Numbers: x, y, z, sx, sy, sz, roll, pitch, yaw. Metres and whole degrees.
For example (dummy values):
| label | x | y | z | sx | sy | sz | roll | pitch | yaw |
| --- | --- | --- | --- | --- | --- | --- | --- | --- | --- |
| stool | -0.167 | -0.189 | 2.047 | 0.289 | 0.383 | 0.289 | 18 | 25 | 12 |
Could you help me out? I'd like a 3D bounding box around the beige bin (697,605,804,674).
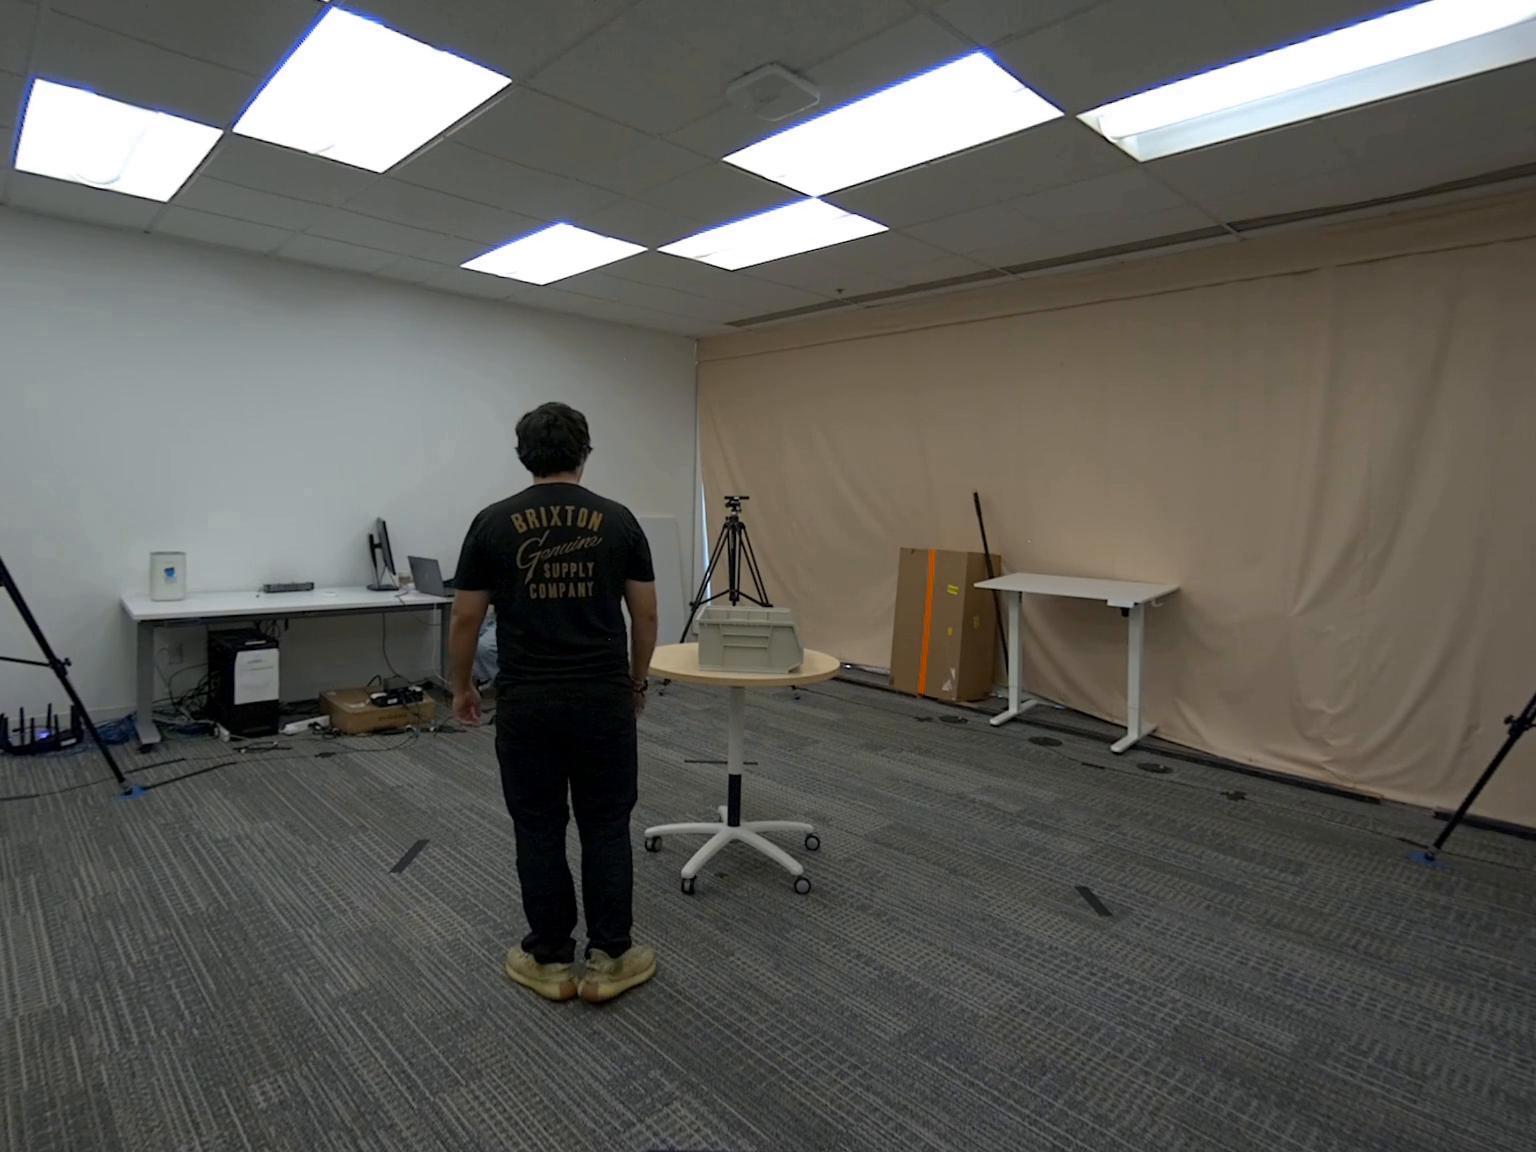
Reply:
| label | x | y | z | sx | sy | sz | roll | pitch | yaw |
| --- | --- | --- | --- | --- | --- | --- | --- | --- | --- |
| beige bin | -0.062 | 0.235 | 3.125 | 0.377 | 0.188 | 0.423 | 0 | 4 | -1 |
